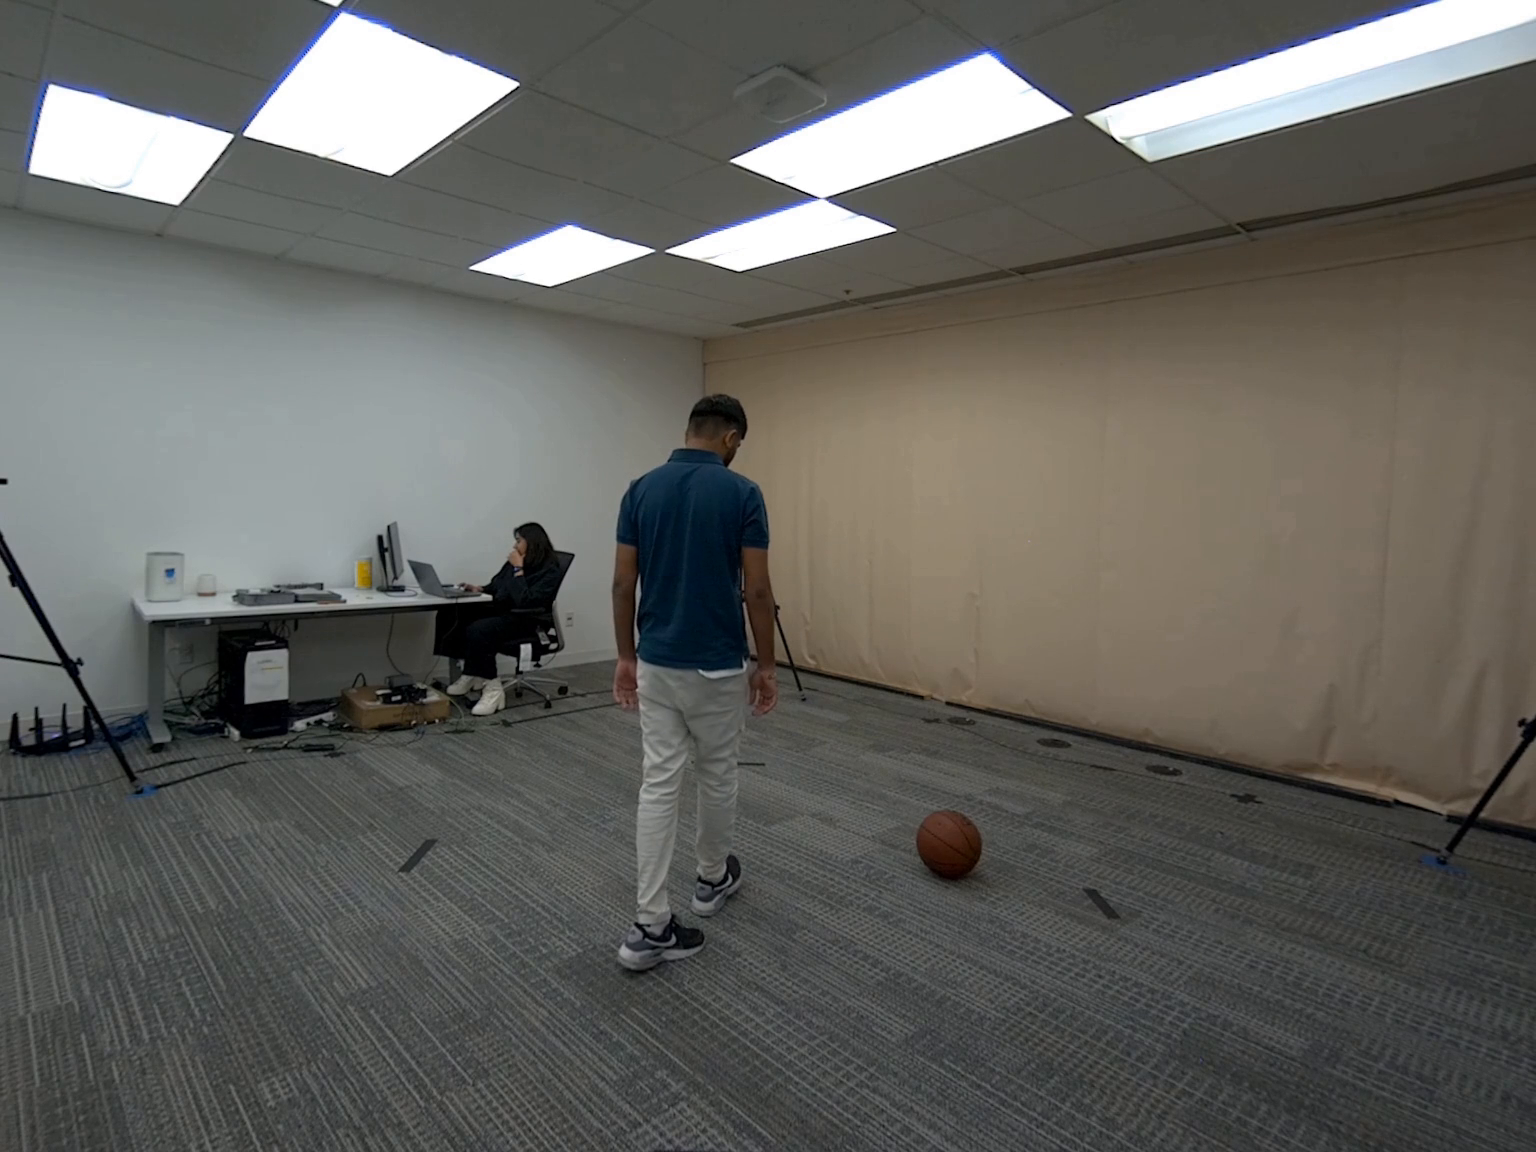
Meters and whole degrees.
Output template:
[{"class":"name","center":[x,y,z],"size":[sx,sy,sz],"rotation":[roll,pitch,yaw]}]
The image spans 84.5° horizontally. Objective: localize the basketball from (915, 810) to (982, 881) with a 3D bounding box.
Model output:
[{"class":"basketball","center":[0.676,1.005,3.162],"size":[0.236,0.235,0.237],"rotation":[1,4,-1]}]
